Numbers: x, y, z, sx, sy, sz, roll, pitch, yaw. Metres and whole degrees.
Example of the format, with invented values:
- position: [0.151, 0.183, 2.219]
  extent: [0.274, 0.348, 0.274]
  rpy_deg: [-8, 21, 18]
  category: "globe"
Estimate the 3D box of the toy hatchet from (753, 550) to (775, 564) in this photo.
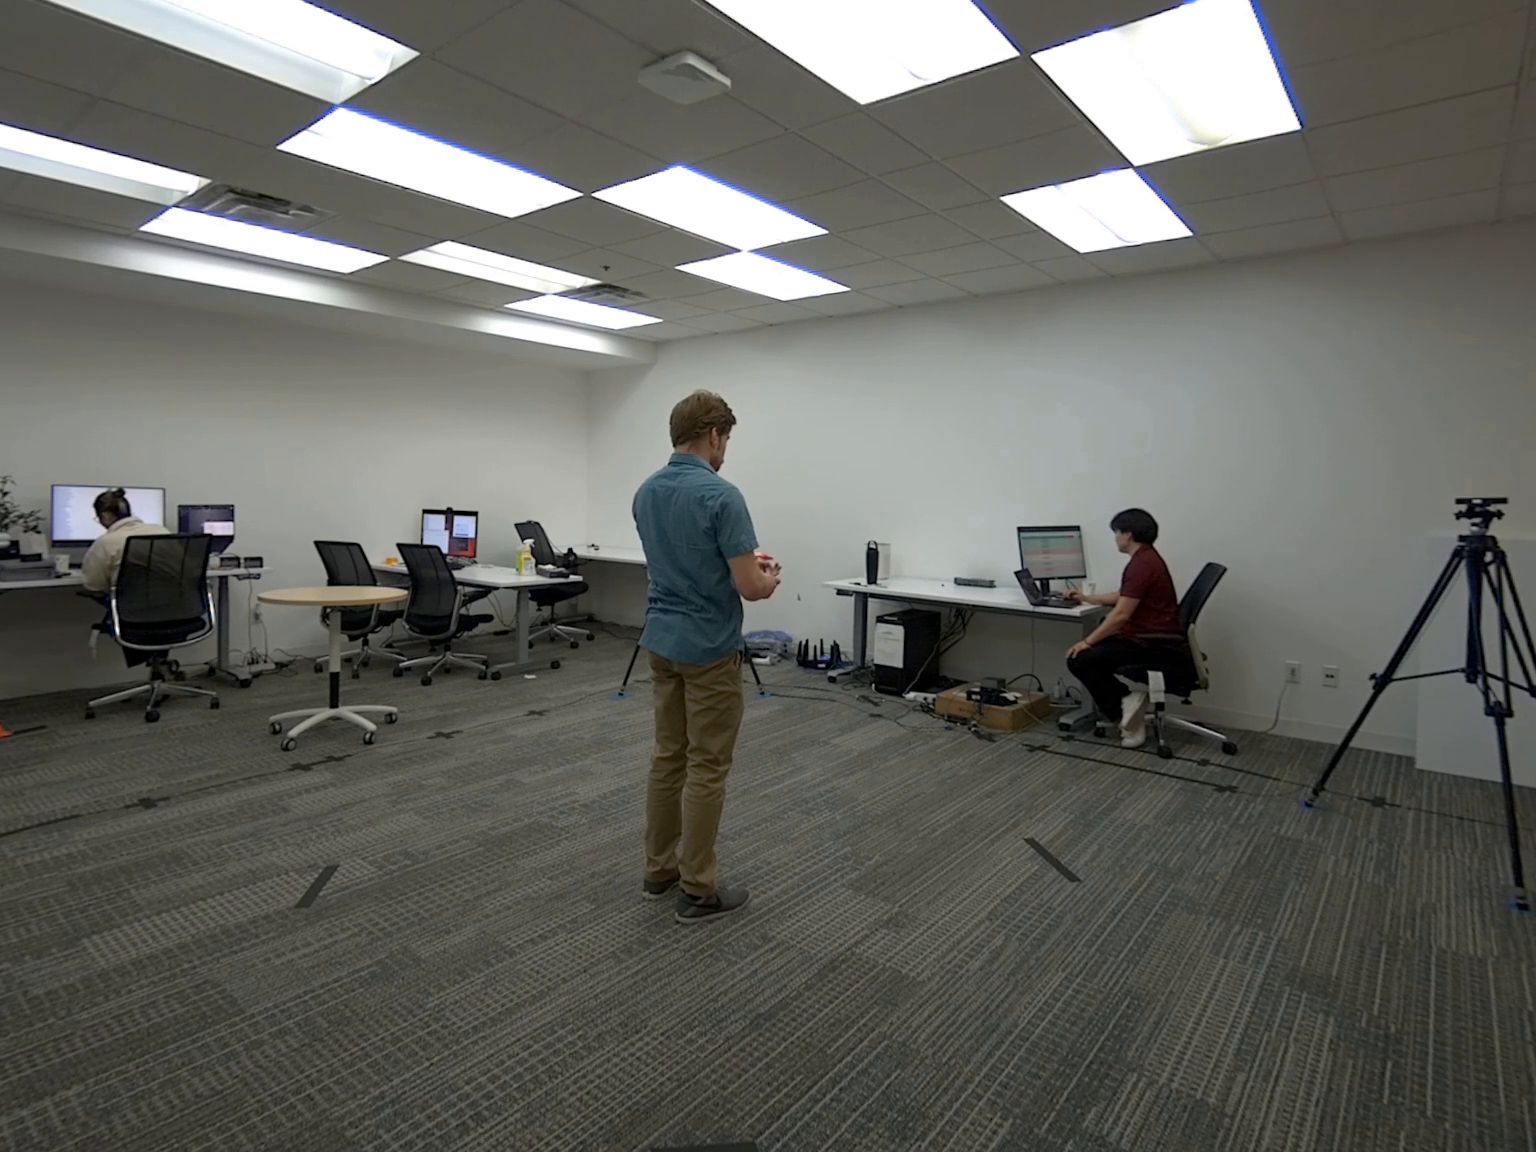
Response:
- position: [-0.049, -0.041, 3.127]
  extent: [0.132, 0.029, 0.271]
  rpy_deg: [13, 13, 3]
  category: "toy hatchet"
